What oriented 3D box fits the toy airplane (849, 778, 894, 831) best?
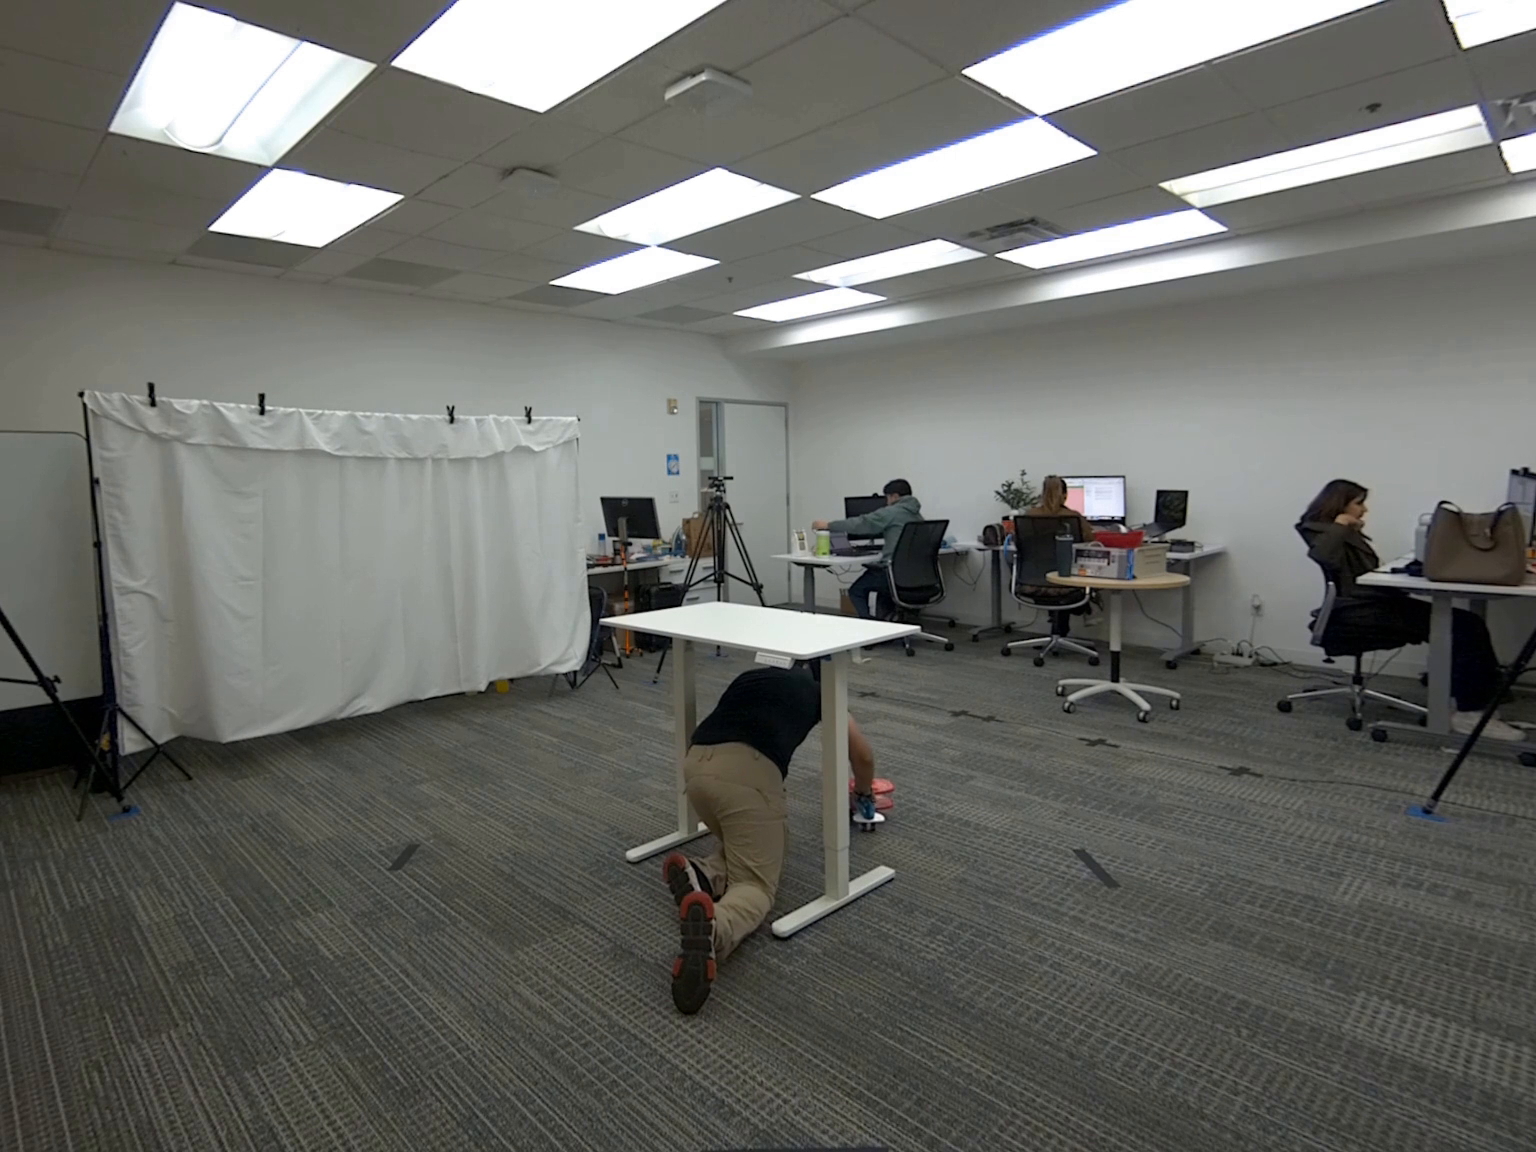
[{"bbox_3d":[0.403,0.915,3.441,0.245,0.156,0.266,-4,6,-32],"label":"toy airplane"}]
